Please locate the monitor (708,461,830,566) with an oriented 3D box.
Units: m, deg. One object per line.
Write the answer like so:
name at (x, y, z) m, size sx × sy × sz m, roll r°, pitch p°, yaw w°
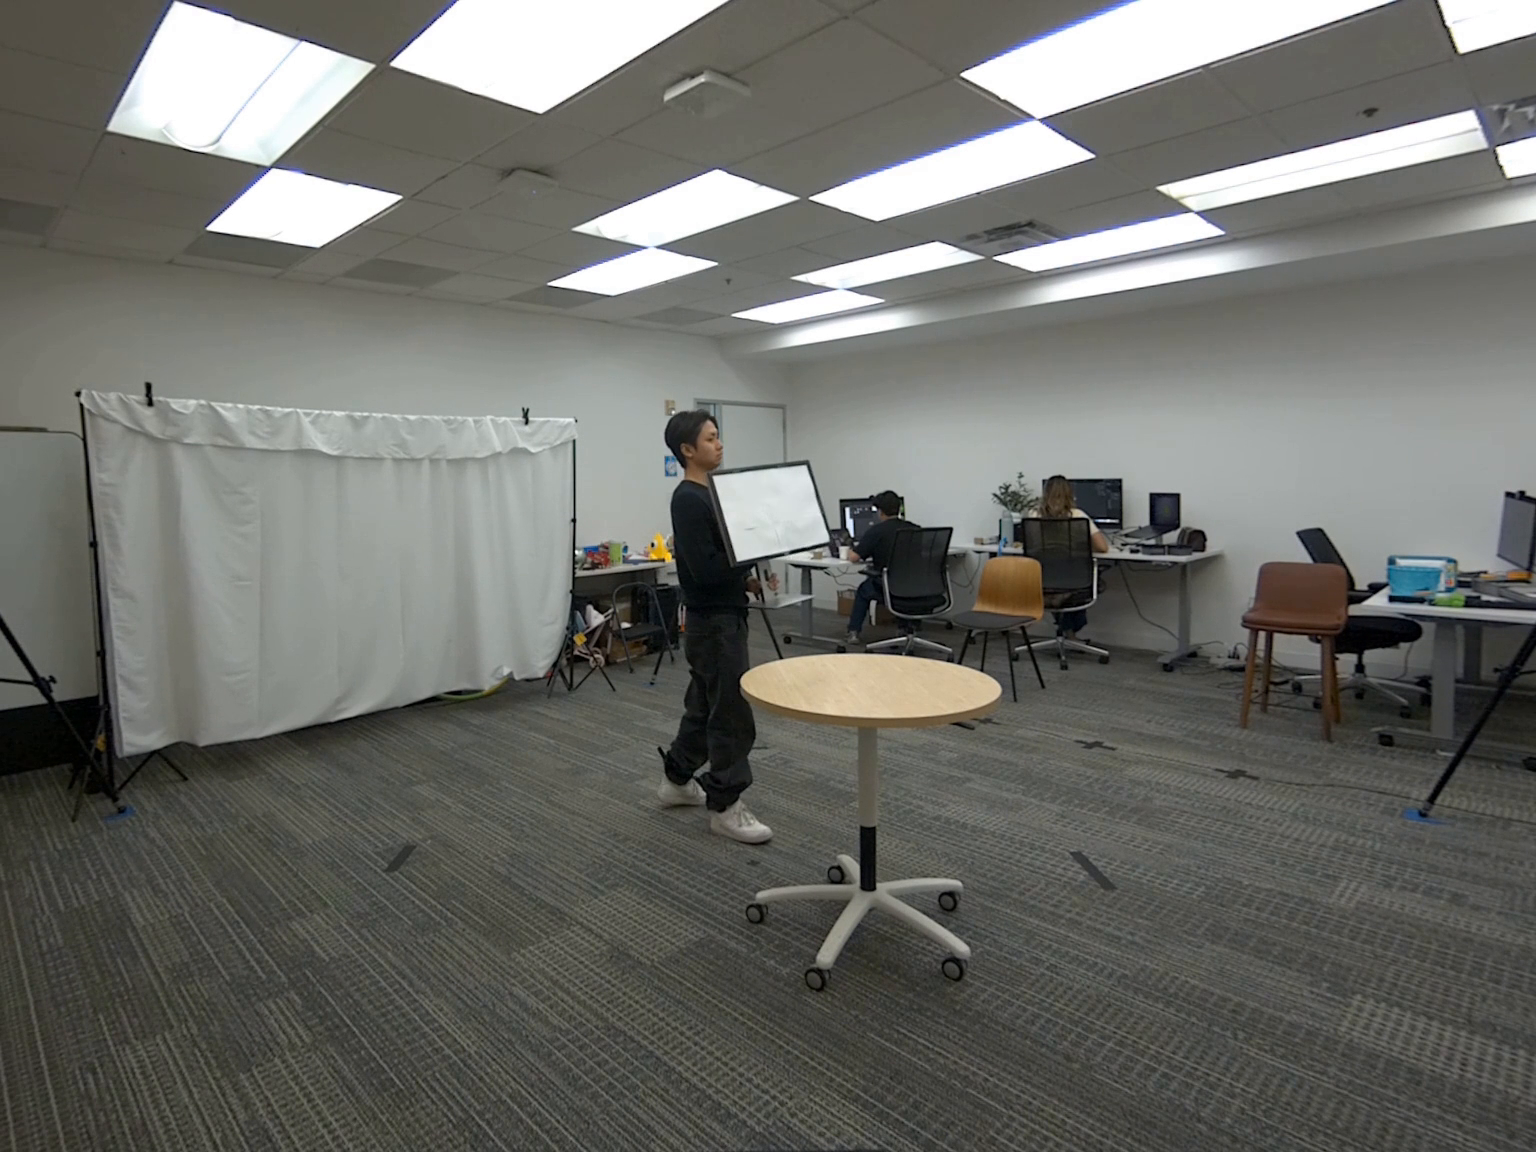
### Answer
monitor at (0.005, -0.164, 3.322) m, size 0.517 × 0.512 × 0.180 m, roll -10°, pitch 10°, yaw -43°
